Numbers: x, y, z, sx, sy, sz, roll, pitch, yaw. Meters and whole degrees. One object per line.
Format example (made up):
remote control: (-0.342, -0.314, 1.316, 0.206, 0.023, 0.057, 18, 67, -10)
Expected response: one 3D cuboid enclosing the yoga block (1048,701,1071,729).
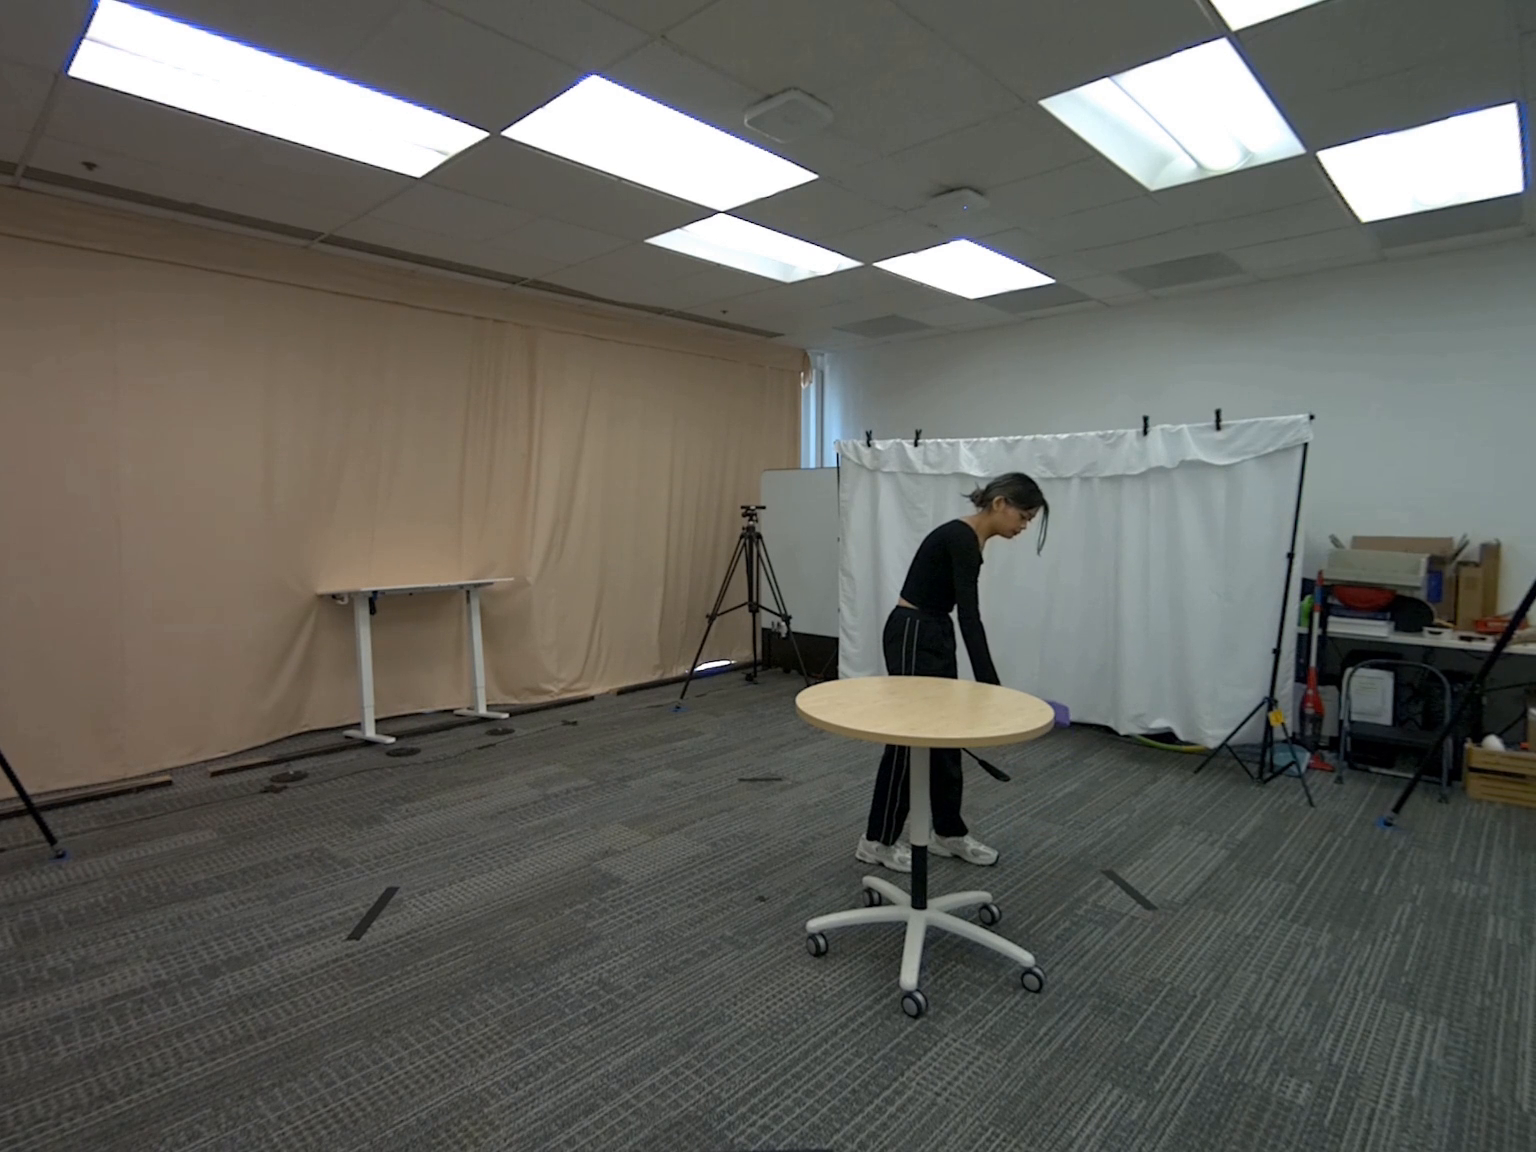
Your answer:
yoga block: (0.947, 0.491, 2.985, 0.236, 0.077, 0.144, -3, -15, 36)
